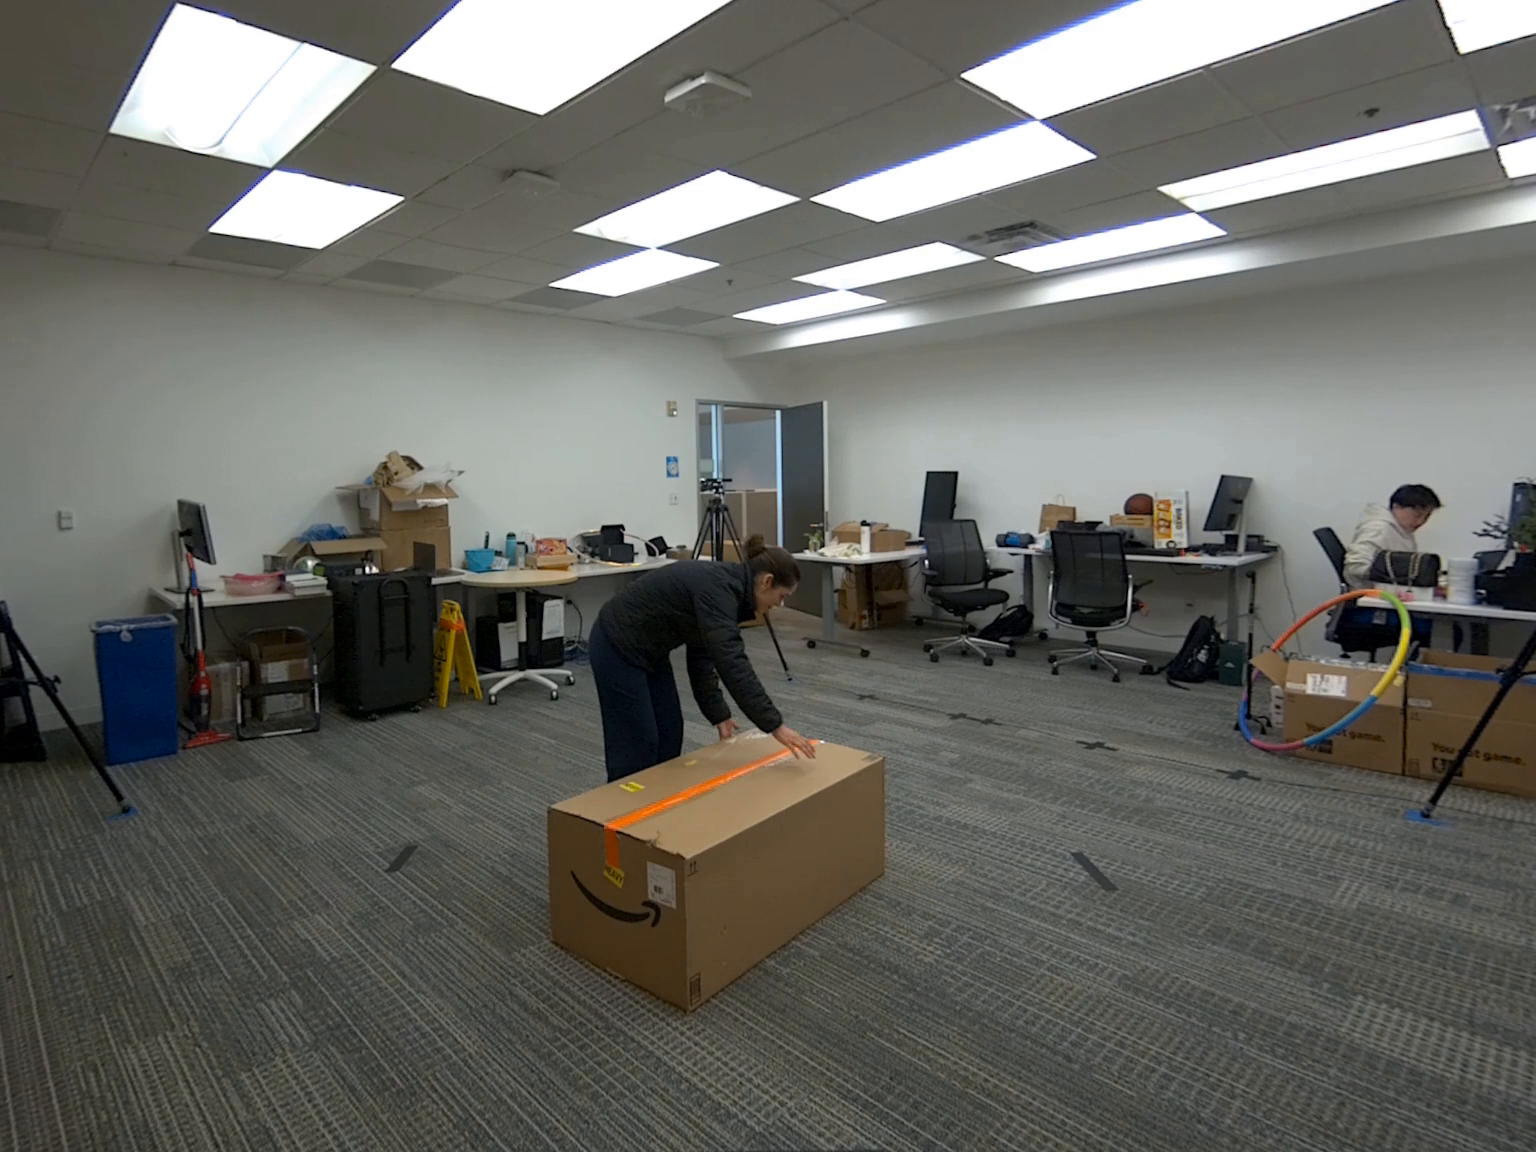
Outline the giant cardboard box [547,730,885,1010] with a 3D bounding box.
[{"bbox_3d":[-0.123,0.867,2.795,0.594,0.424,1.000,3,7,38],"label":"giant cardboard box"}]
